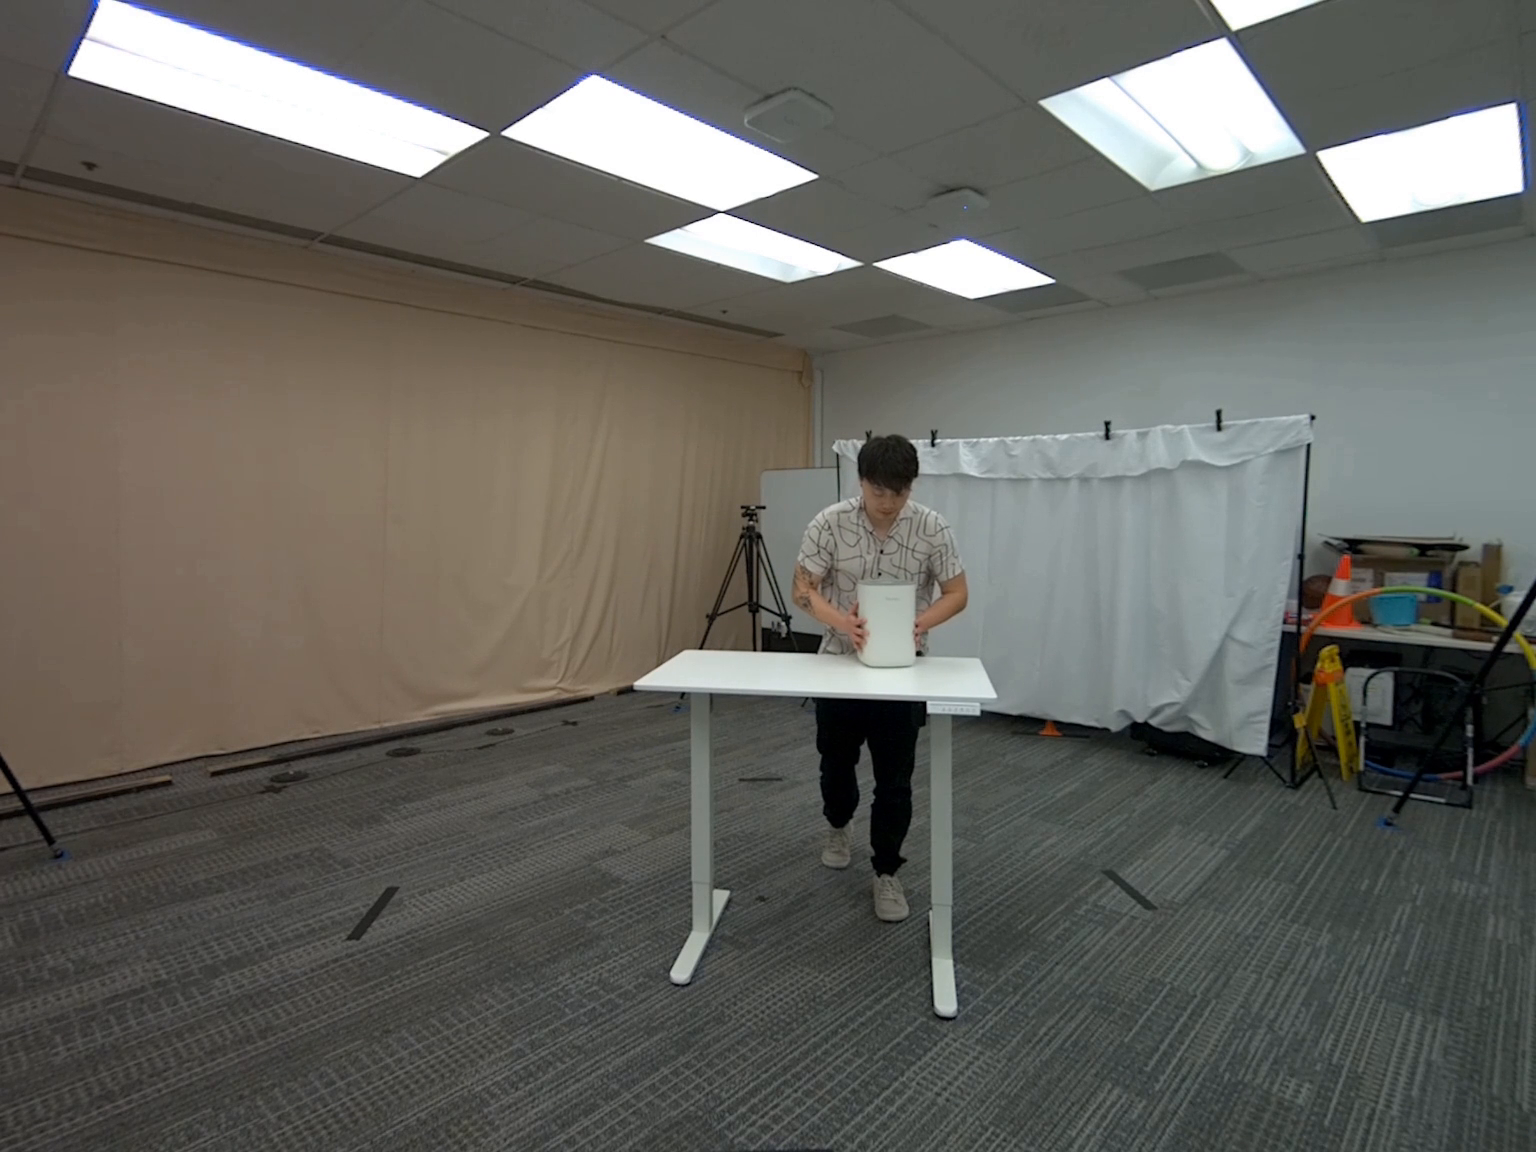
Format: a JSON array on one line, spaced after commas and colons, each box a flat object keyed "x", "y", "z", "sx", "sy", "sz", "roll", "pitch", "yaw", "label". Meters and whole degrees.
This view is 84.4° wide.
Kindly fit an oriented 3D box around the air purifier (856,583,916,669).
[{"x": 0.380, "y": 0.153, "z": 2.690, "sx": 0.170, "sy": 0.265, "sz": 0.173, "roll": -1, "pitch": 3, "yaw": -5, "label": "air purifier"}]
